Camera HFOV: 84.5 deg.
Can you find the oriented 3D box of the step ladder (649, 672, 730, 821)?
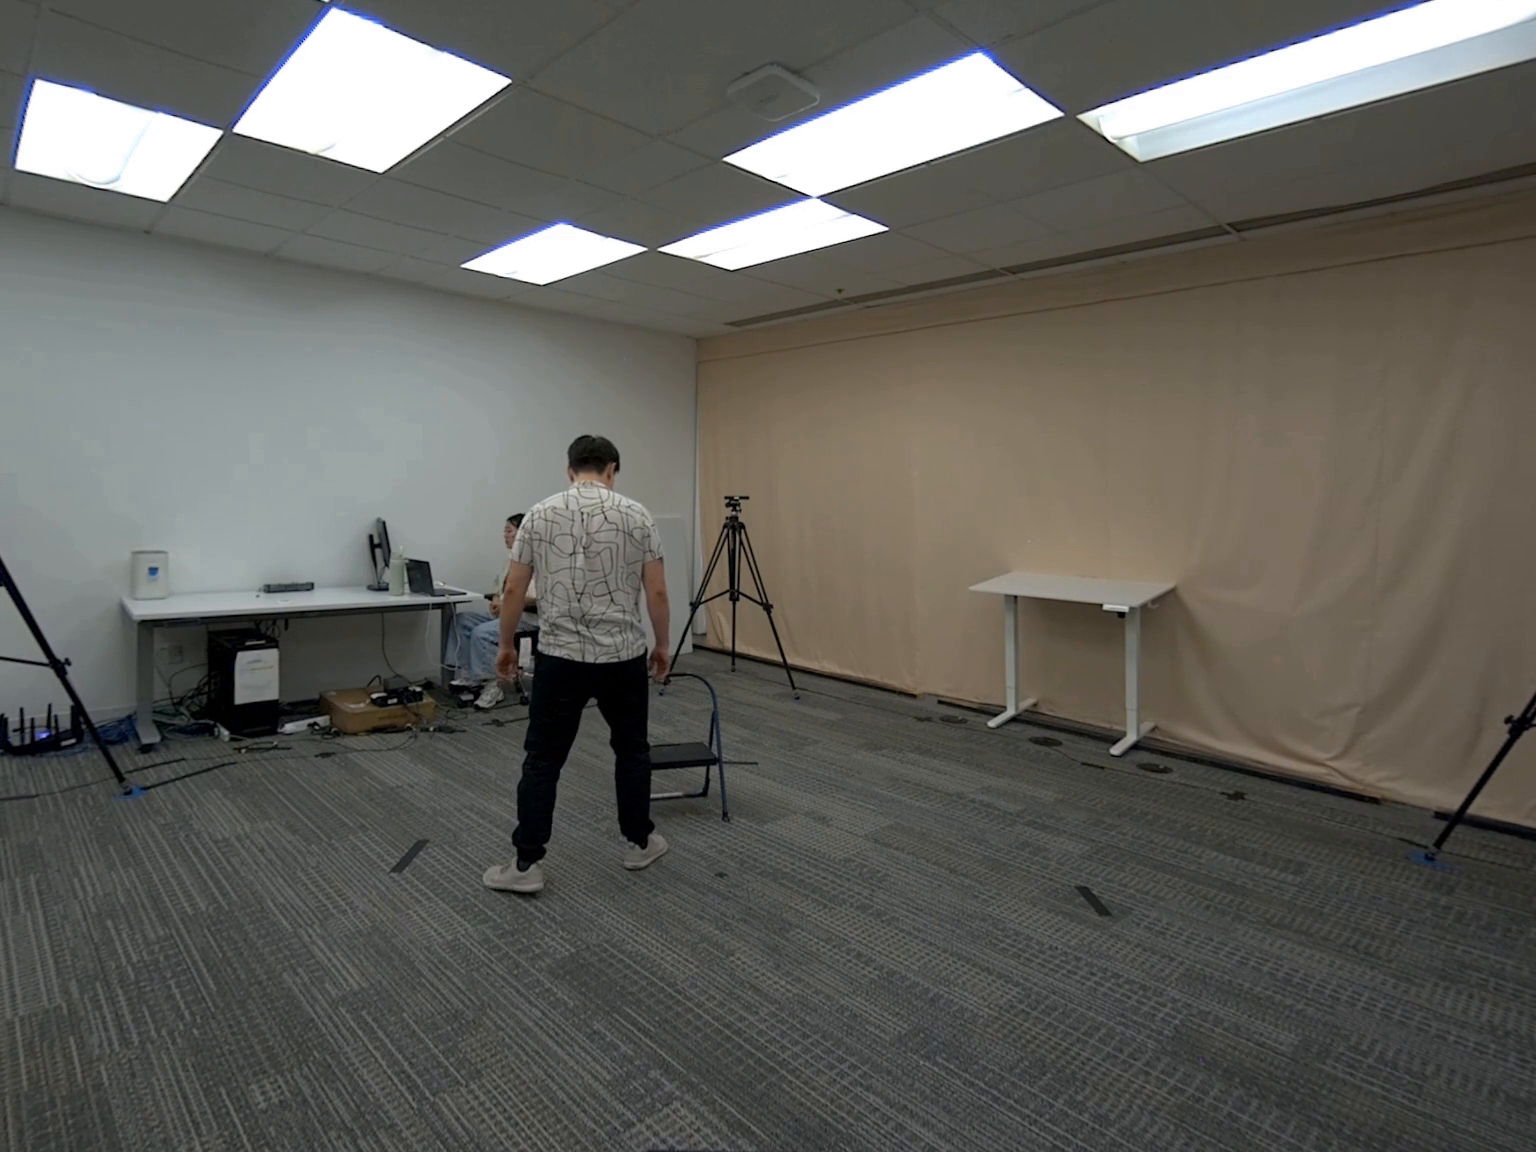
[{"bbox_3d":[-0.420,0.742,3.717,0.424,0.605,0.355,1,3,-20],"label":"step ladder"}]
